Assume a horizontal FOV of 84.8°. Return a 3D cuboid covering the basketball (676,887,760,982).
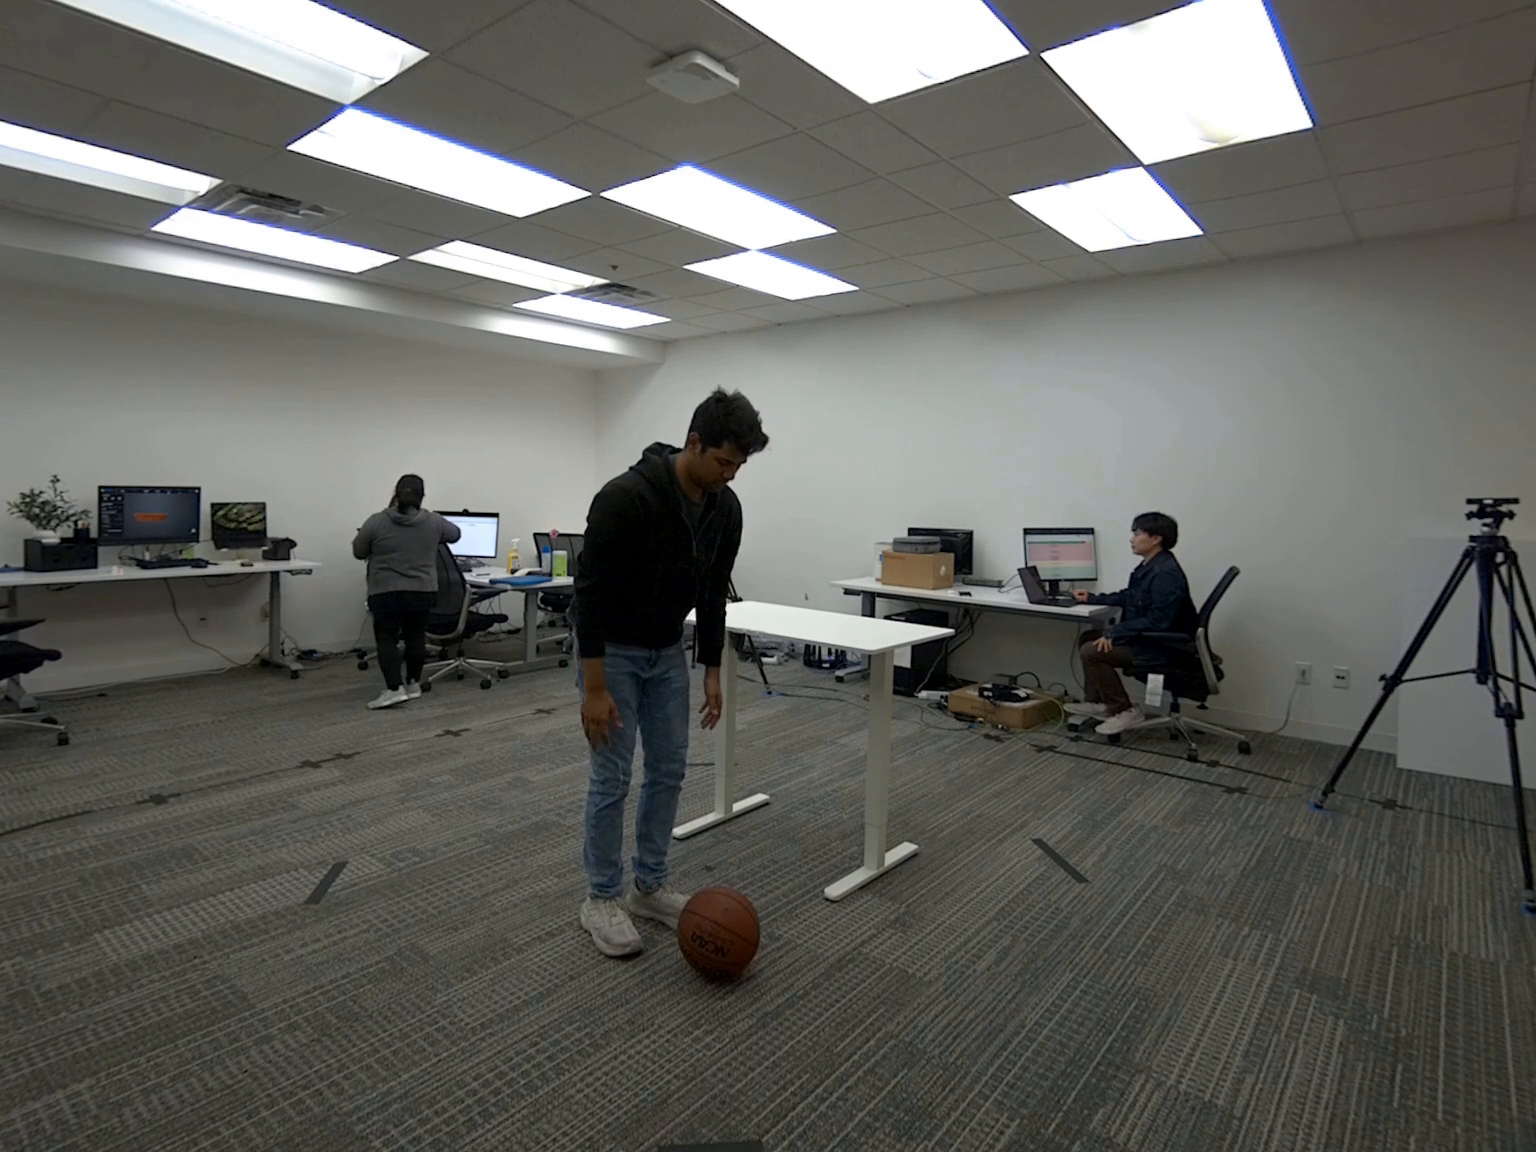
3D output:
[{"bbox_3d":[-0.149,1.016,2.426,0.235,0.235,0.237,1,4,-2],"label":"basketball"}]
